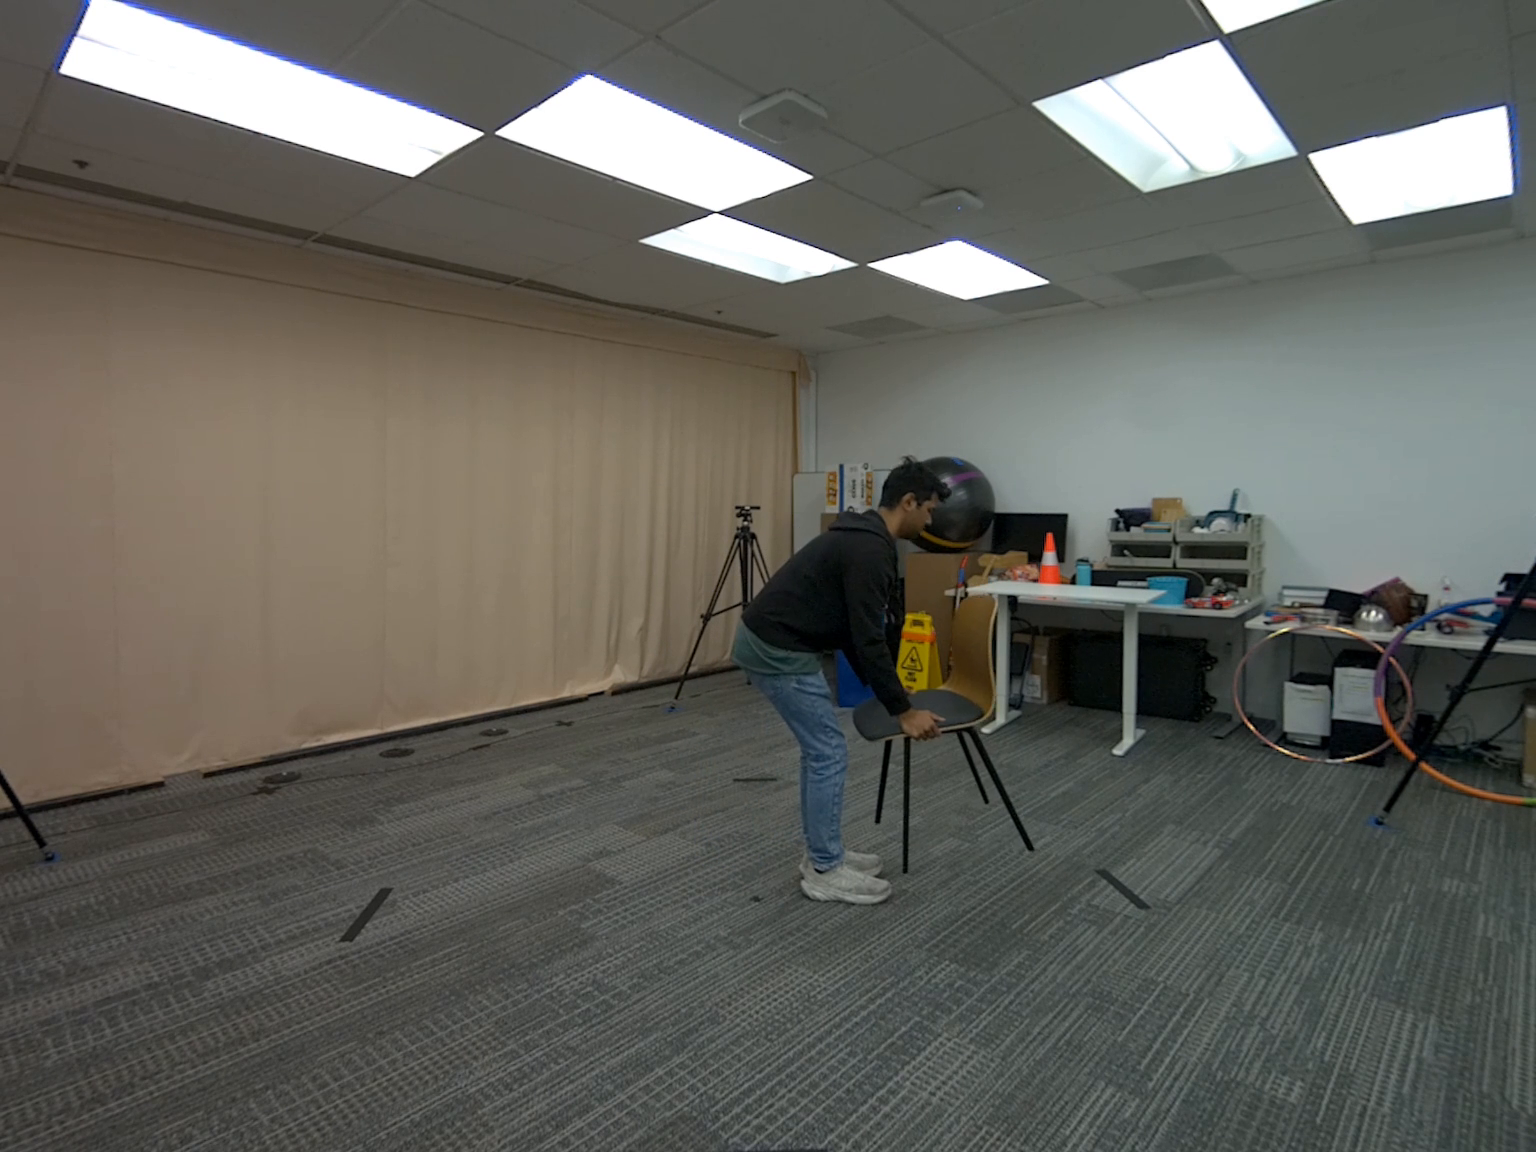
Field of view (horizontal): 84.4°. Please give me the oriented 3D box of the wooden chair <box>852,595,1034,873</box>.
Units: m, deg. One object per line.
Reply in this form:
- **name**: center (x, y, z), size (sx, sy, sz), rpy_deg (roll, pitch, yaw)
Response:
- **wooden chair**: center (0.588, 0.530, 3.032), size (0.522, 0.874, 0.481), rpy_deg (-6, 5, -4)
